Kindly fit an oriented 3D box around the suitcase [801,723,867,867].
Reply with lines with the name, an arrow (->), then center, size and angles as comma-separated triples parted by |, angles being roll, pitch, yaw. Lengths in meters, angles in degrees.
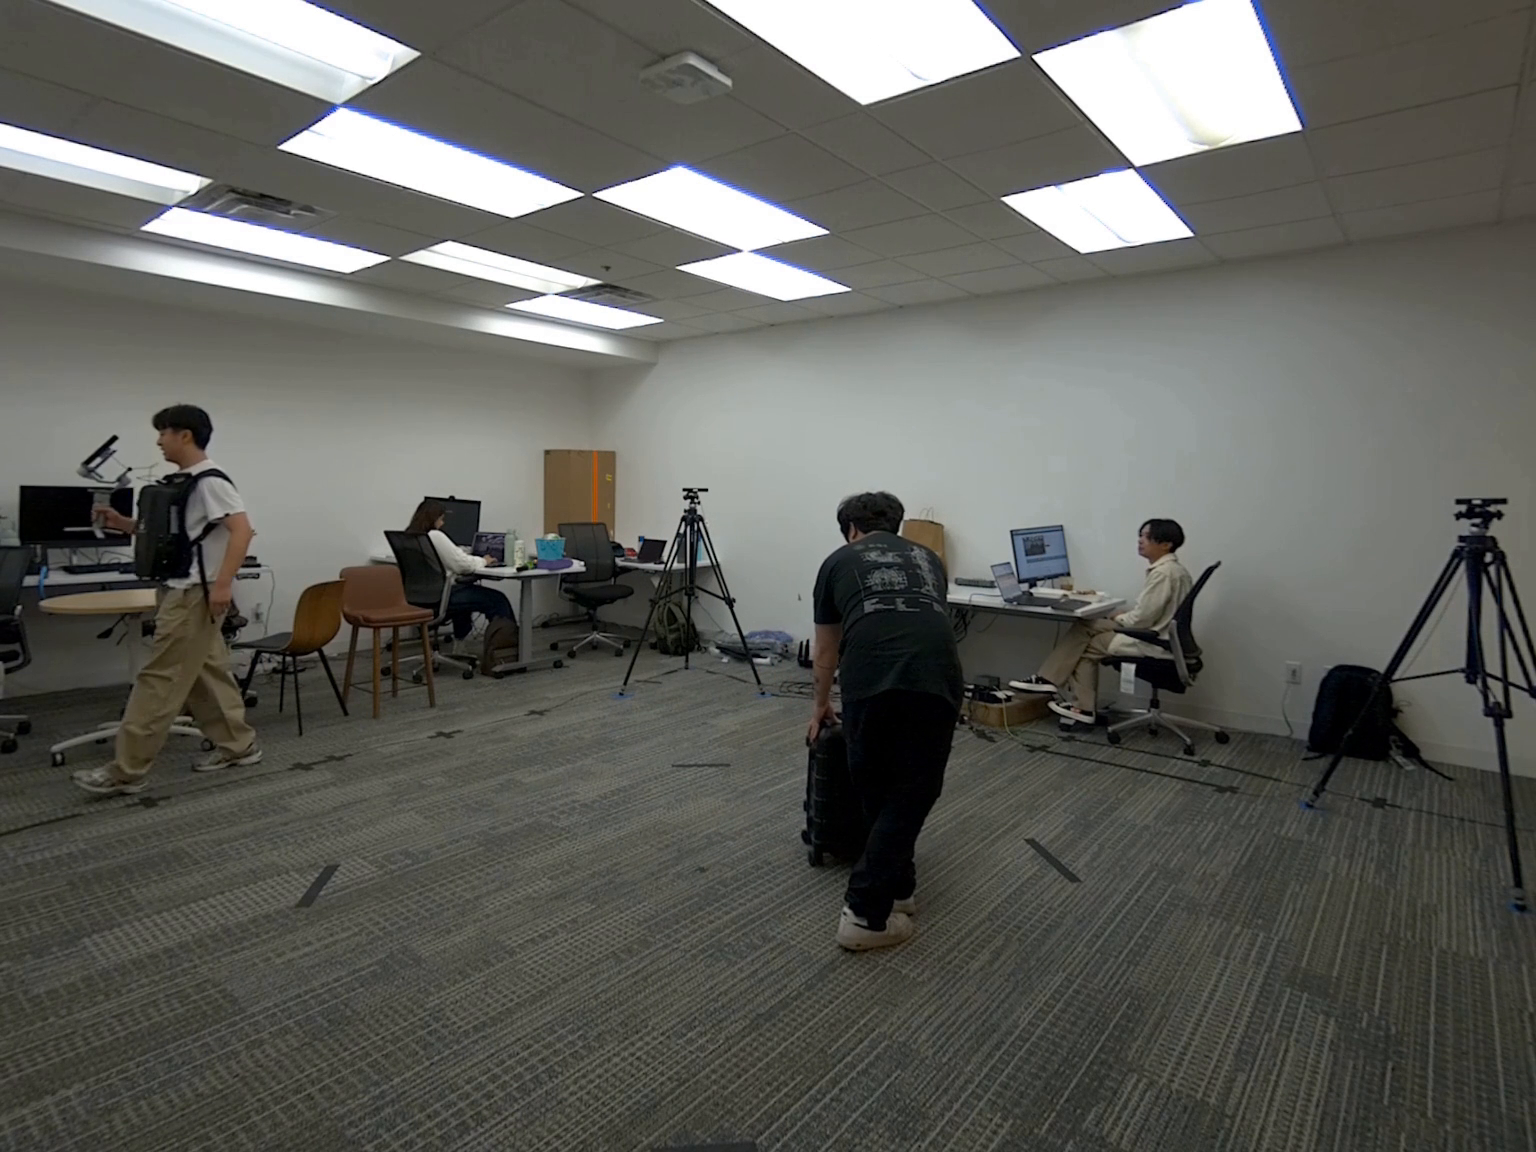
suitcase -> 0.329, 0.795, 3.230 | 0.375, 0.547, 0.250 | 2, 5, -1
